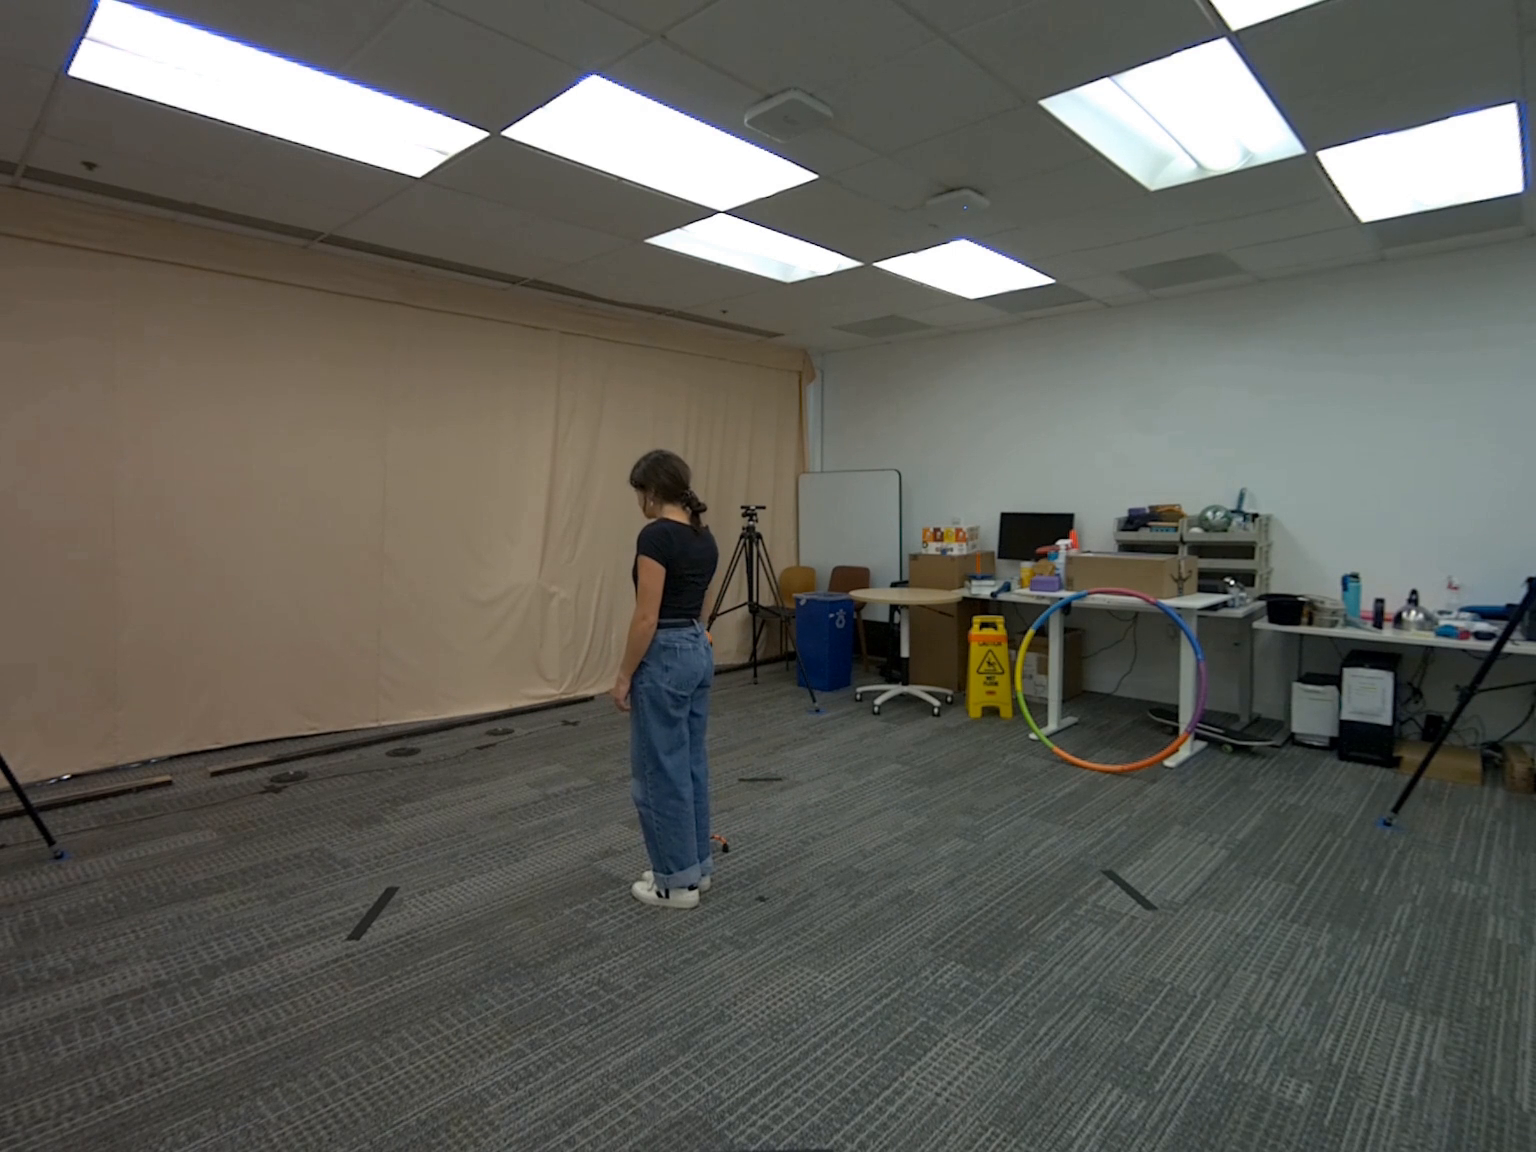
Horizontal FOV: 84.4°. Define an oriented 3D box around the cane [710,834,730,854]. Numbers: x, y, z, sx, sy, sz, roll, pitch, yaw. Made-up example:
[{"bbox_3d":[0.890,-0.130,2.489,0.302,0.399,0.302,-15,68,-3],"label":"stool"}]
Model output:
[{"bbox_3d":[-0.279,0.660,3.371,0.212,0.906,0.148,0,4,29],"label":"cane"}]
